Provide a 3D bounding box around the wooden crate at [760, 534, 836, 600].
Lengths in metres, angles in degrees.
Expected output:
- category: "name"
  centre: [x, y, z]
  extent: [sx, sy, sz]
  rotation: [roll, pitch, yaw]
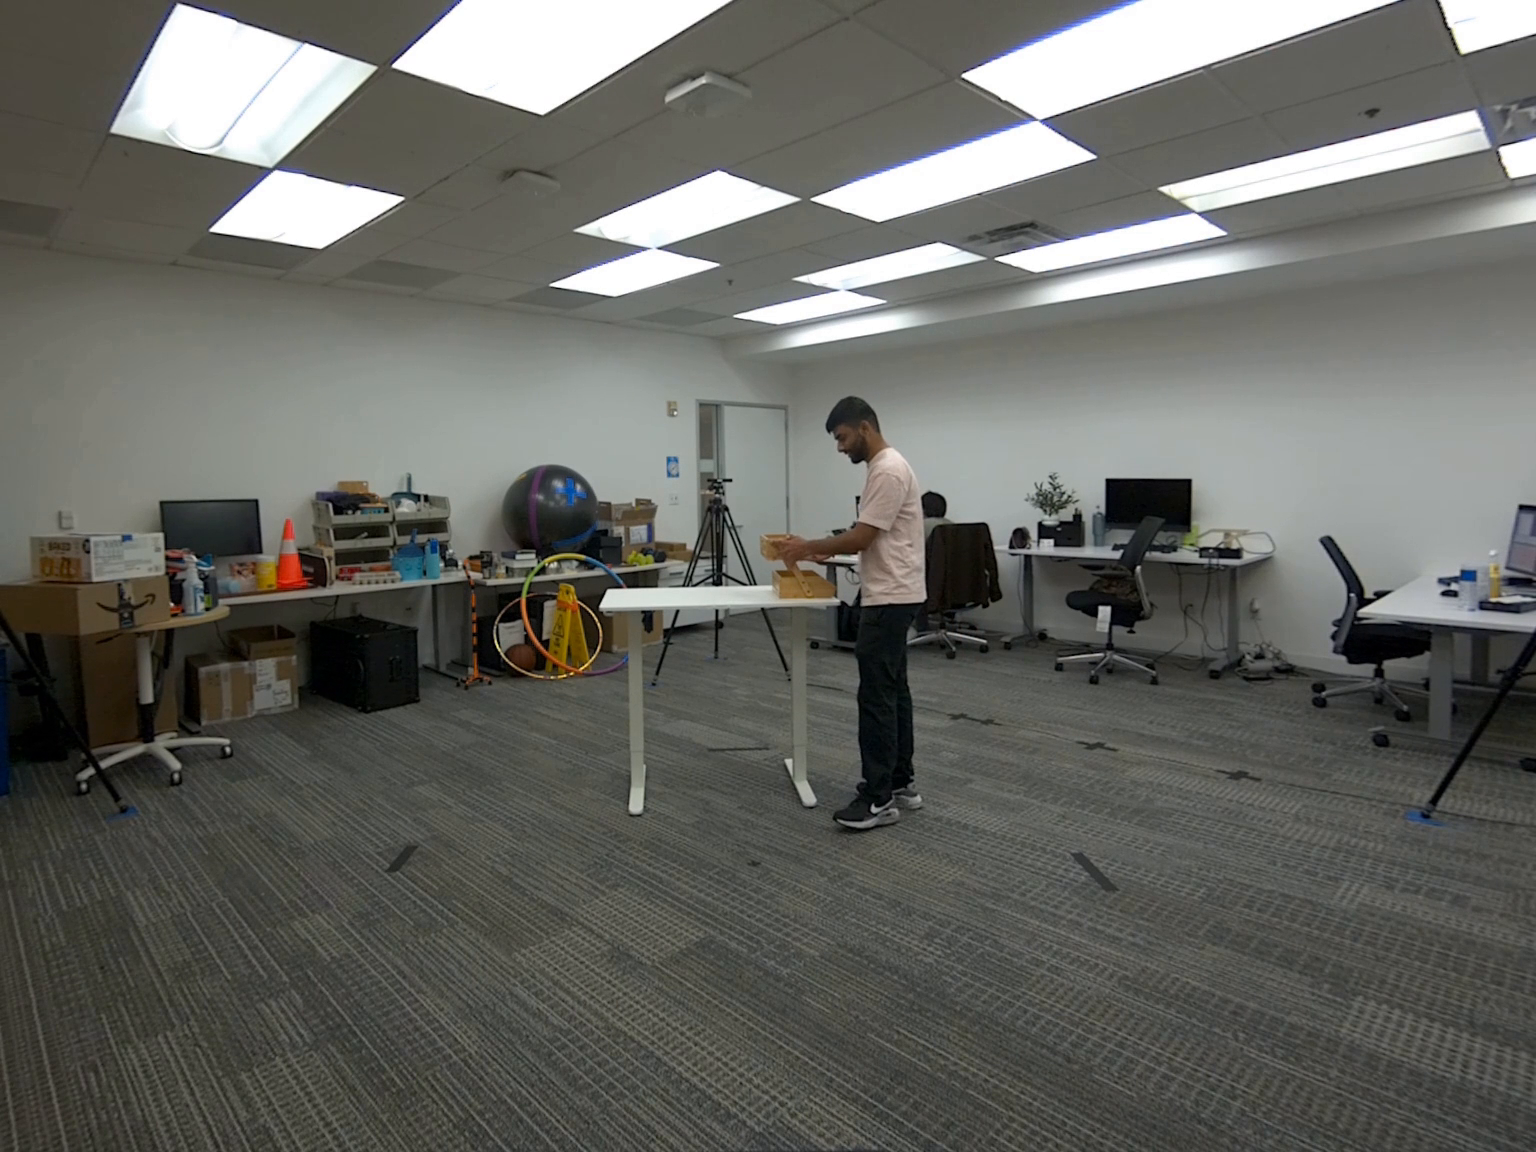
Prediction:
- category: "wooden crate"
  centre: [0.142, -0.046, 3.845]
  extent: [0.300, 0.272, 0.327]
  rotation: [1, 5, -6]
